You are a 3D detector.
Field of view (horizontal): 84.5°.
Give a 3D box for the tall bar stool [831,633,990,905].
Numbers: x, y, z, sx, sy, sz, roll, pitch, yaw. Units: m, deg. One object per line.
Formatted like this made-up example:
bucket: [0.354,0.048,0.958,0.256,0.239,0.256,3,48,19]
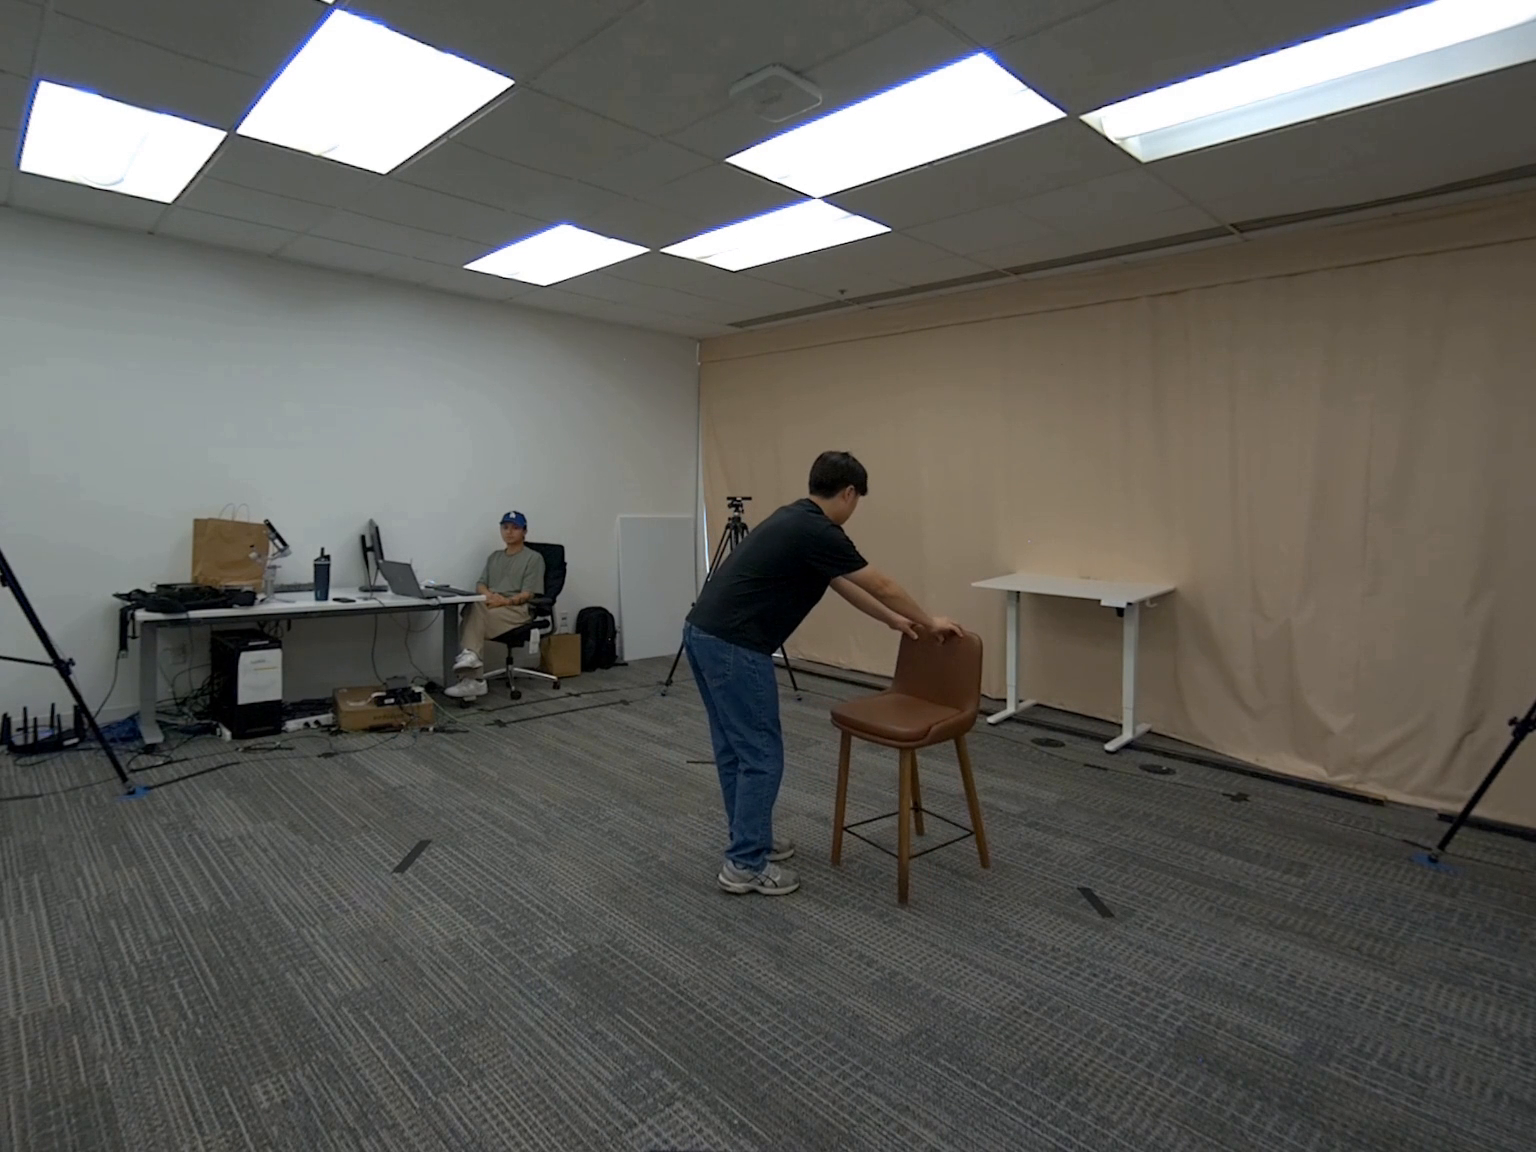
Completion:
tall bar stool: [0.519,0.660,3.140,0.458,0.887,0.467,-4,5,-32]
